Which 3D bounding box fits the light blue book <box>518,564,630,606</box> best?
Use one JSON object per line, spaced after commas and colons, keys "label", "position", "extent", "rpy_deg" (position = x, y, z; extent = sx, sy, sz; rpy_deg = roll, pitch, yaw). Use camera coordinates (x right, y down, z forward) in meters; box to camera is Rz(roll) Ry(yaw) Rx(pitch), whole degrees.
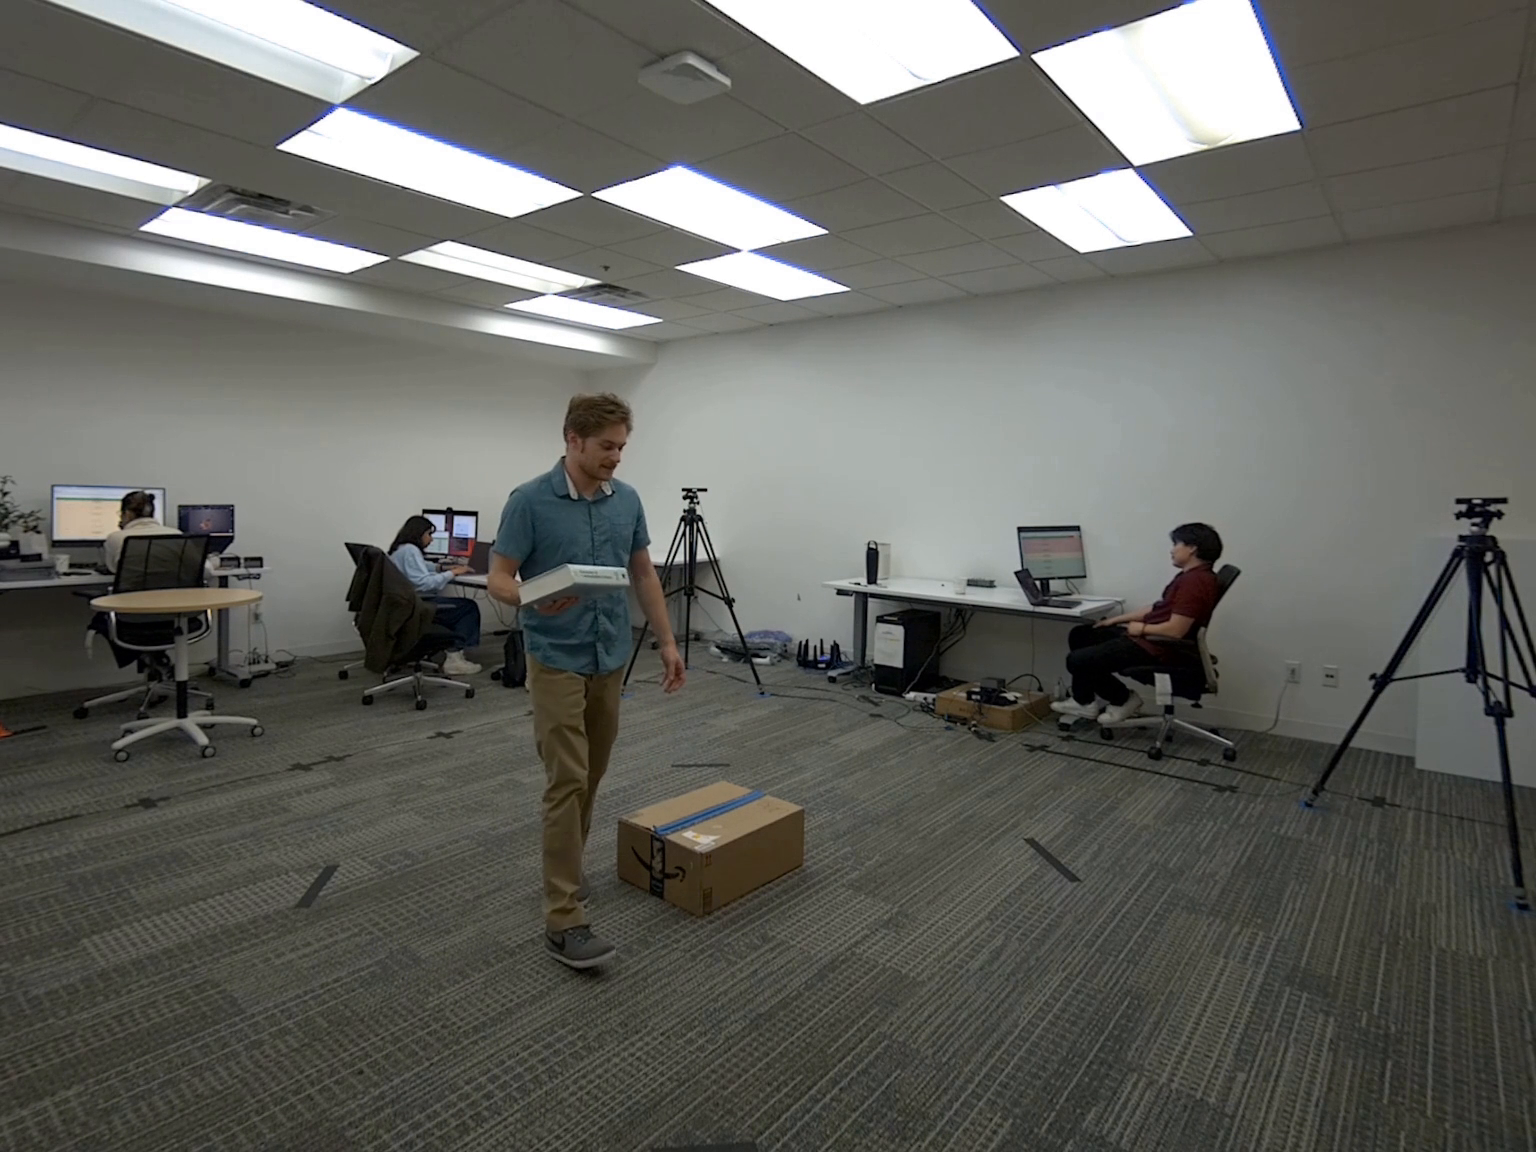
{"label": "light blue book", "position": [-0.550, 0.023, 2.335], "extent": [0.194, 0.060, 0.254], "rpy_deg": [-20, -10, 24]}
